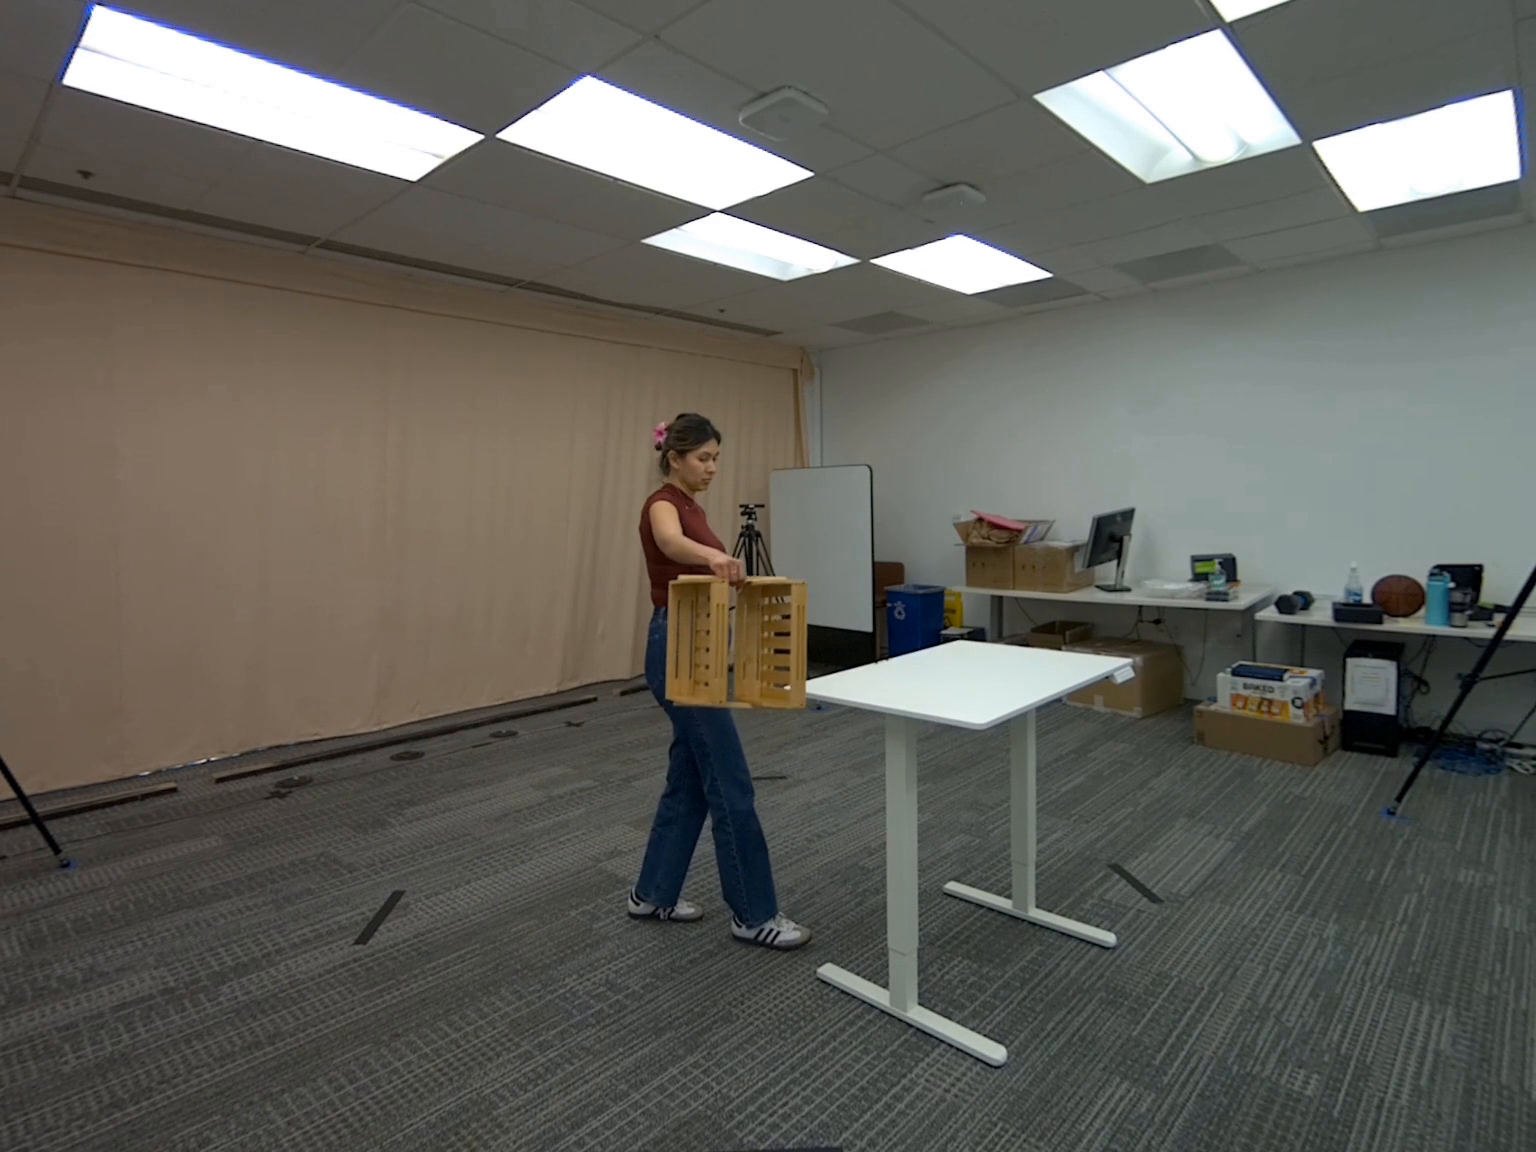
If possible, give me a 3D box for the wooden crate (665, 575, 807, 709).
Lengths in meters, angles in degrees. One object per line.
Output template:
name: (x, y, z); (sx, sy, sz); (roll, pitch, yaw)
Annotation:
wooden crate: (-0.077, 0.170, 2.070); (0.267, 0.325, 0.307); (4, -6, -21)
